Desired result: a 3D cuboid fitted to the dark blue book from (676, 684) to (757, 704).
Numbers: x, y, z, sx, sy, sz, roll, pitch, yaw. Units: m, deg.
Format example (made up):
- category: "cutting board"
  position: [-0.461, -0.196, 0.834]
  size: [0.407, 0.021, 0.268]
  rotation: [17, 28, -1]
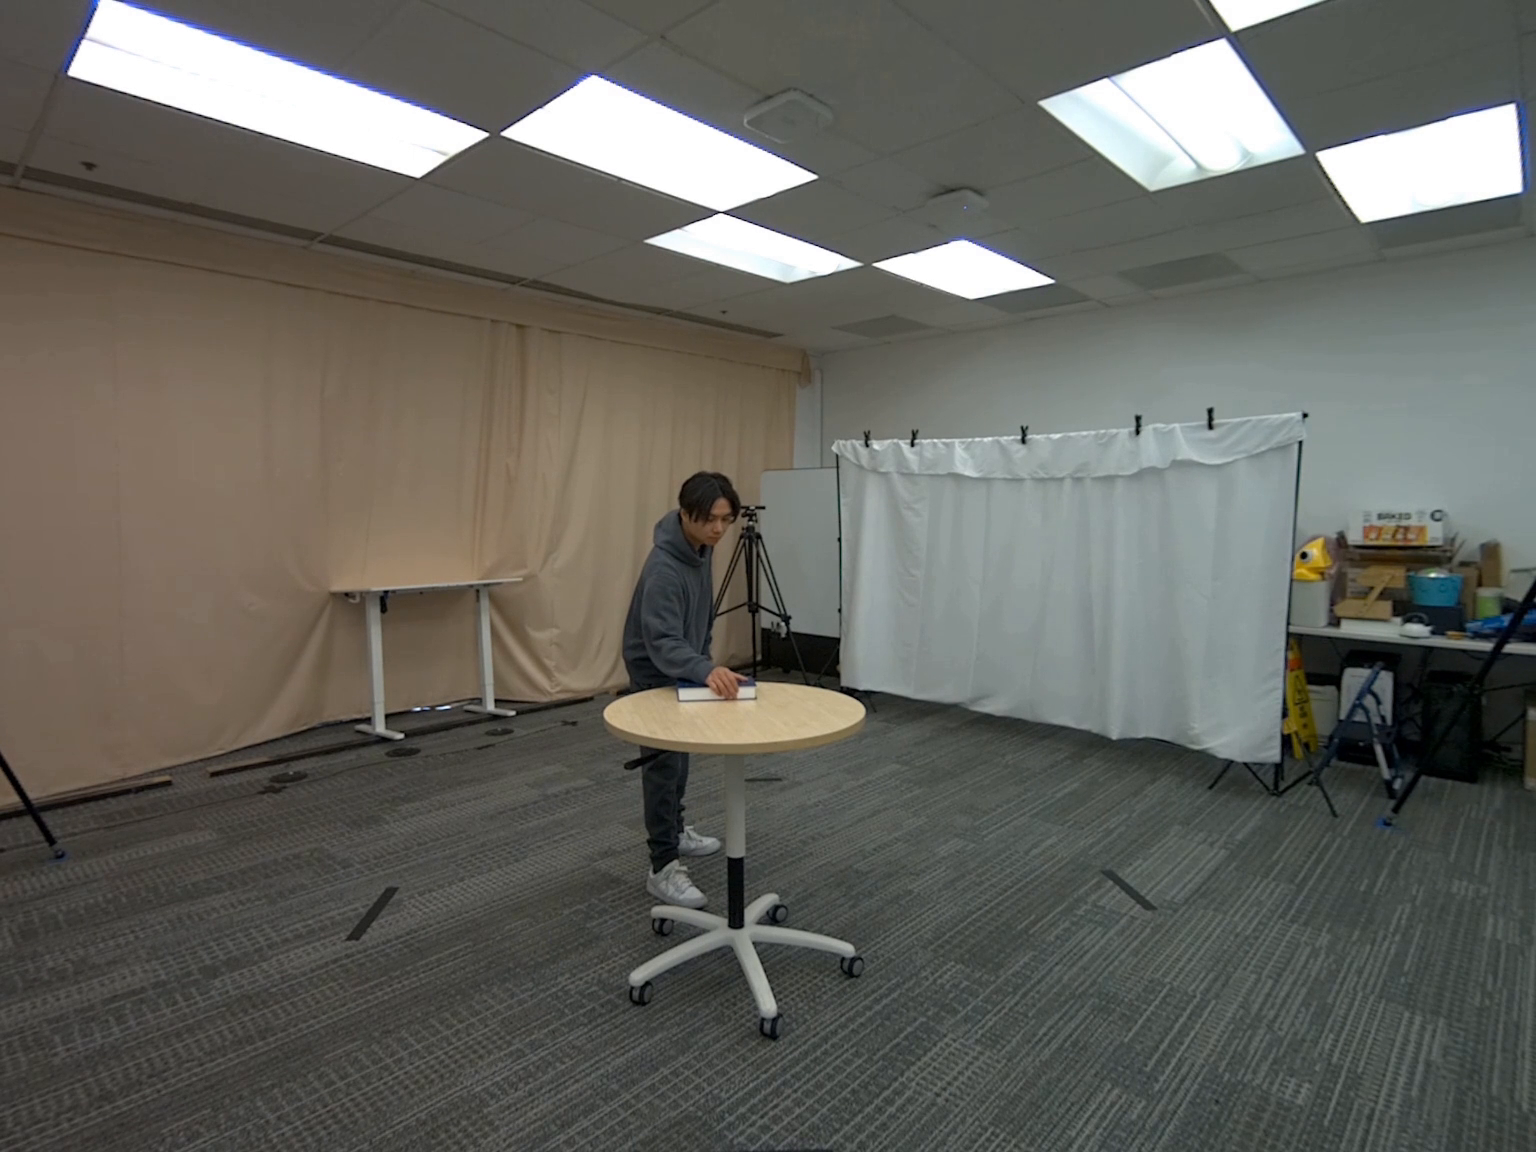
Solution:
- category: "dark blue book"
  position: [-0.154, 0.360, 2.664]
  size: [0.244, 0.045, 0.164]
  rotation: [-3, 4, -5]
